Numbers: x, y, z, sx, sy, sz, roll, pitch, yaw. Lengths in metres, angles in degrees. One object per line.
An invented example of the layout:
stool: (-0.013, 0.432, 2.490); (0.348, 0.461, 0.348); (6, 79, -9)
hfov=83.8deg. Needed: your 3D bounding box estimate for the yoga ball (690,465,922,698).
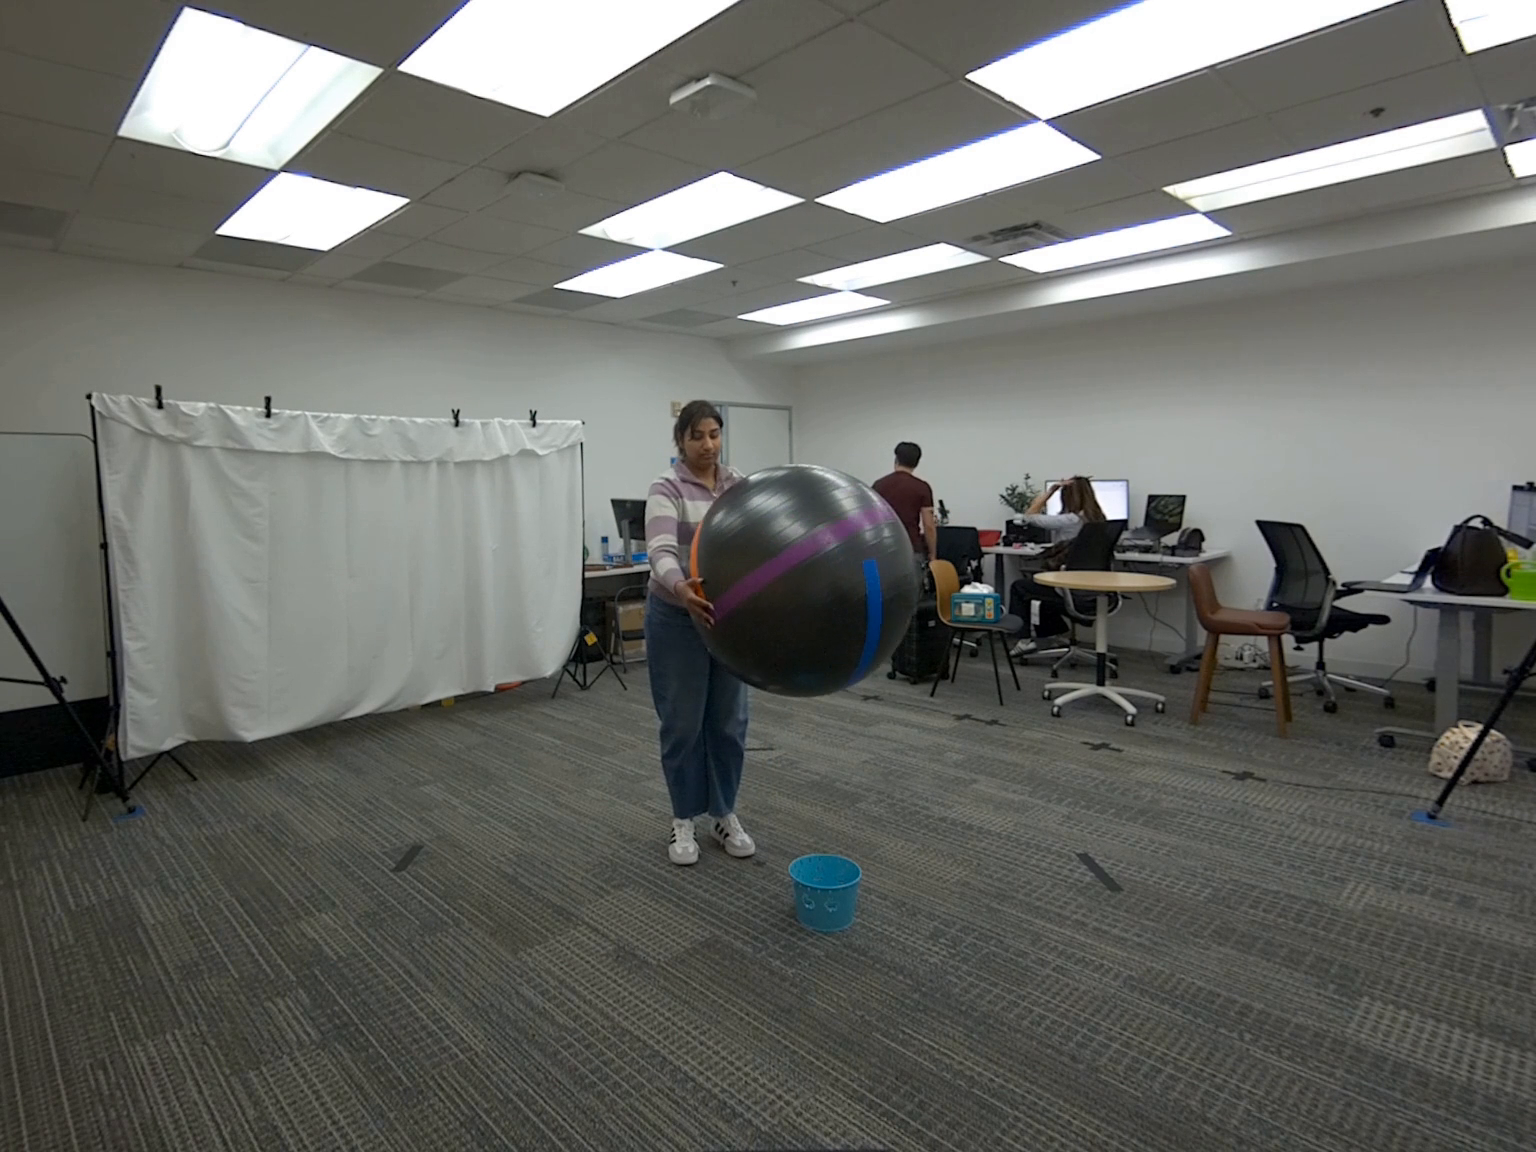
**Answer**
yoga ball: (0.111, 0.011, 2.799); (0.757, 0.755, 0.762); (-1, 5, -2)
